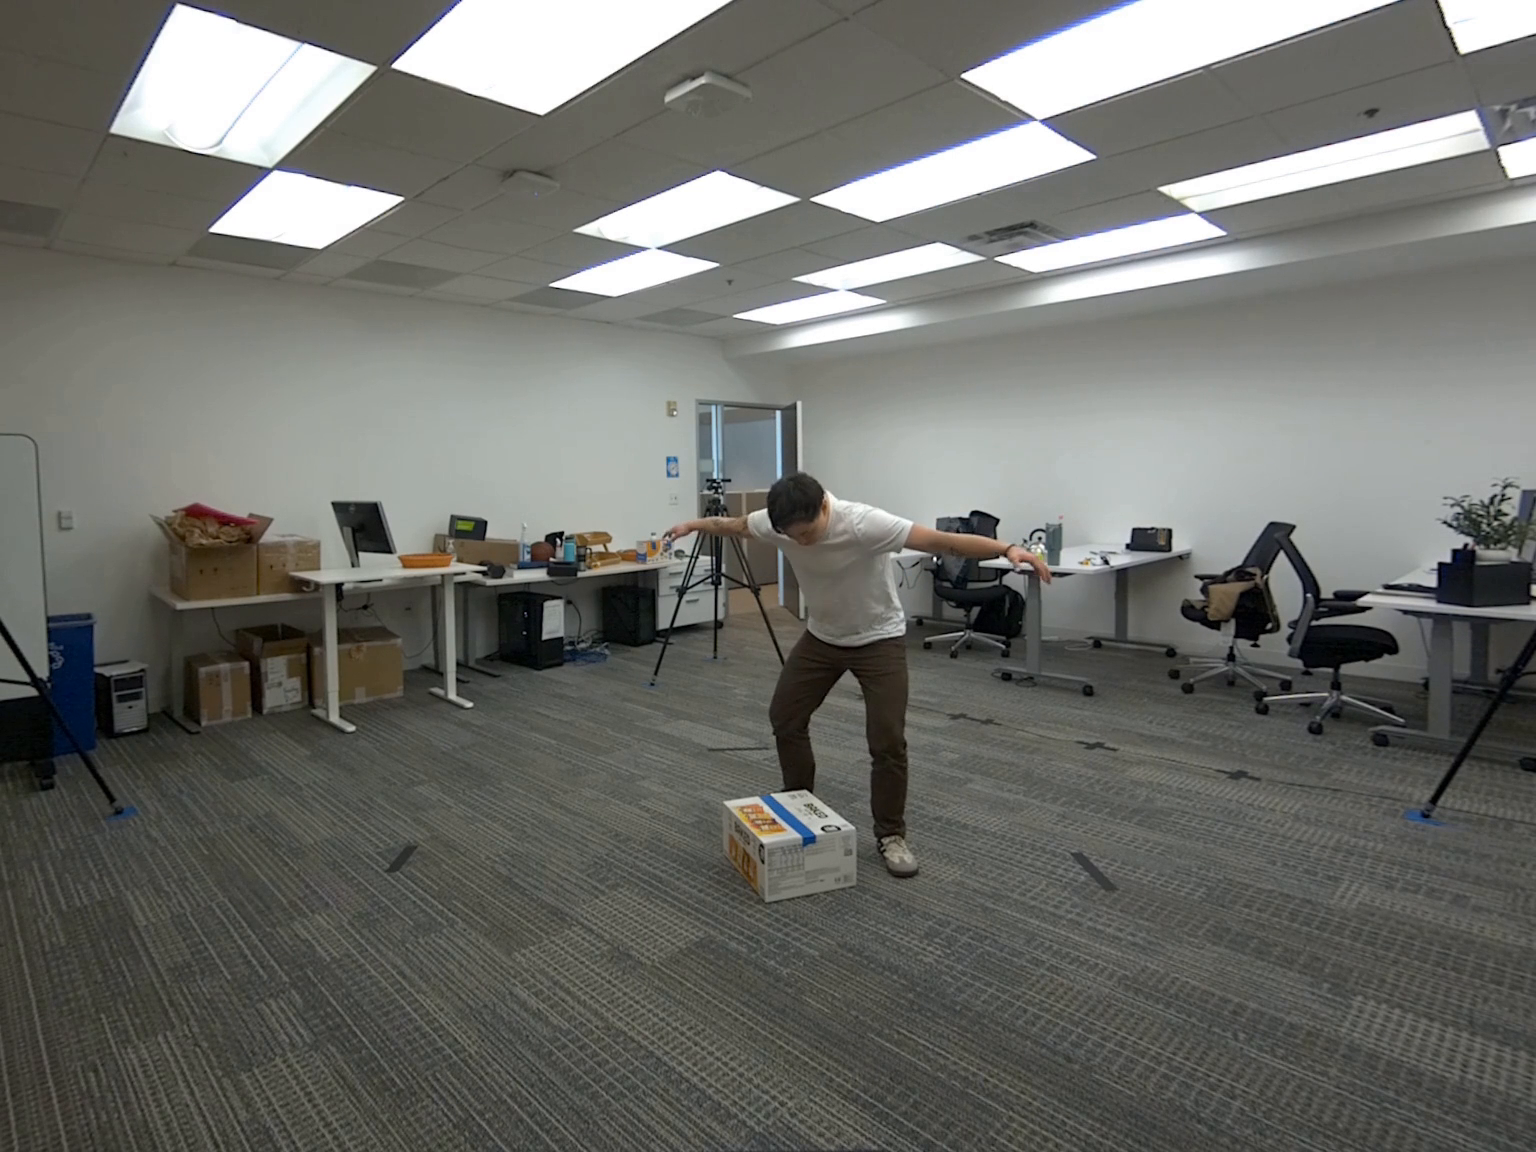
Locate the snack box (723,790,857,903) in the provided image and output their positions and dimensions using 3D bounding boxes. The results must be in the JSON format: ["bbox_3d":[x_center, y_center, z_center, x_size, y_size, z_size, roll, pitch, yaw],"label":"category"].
[{"bbox_3d":[0.069,0.949,3.040,0.334,0.205,0.414,-3,6,-21],"label":"snack box"}]
